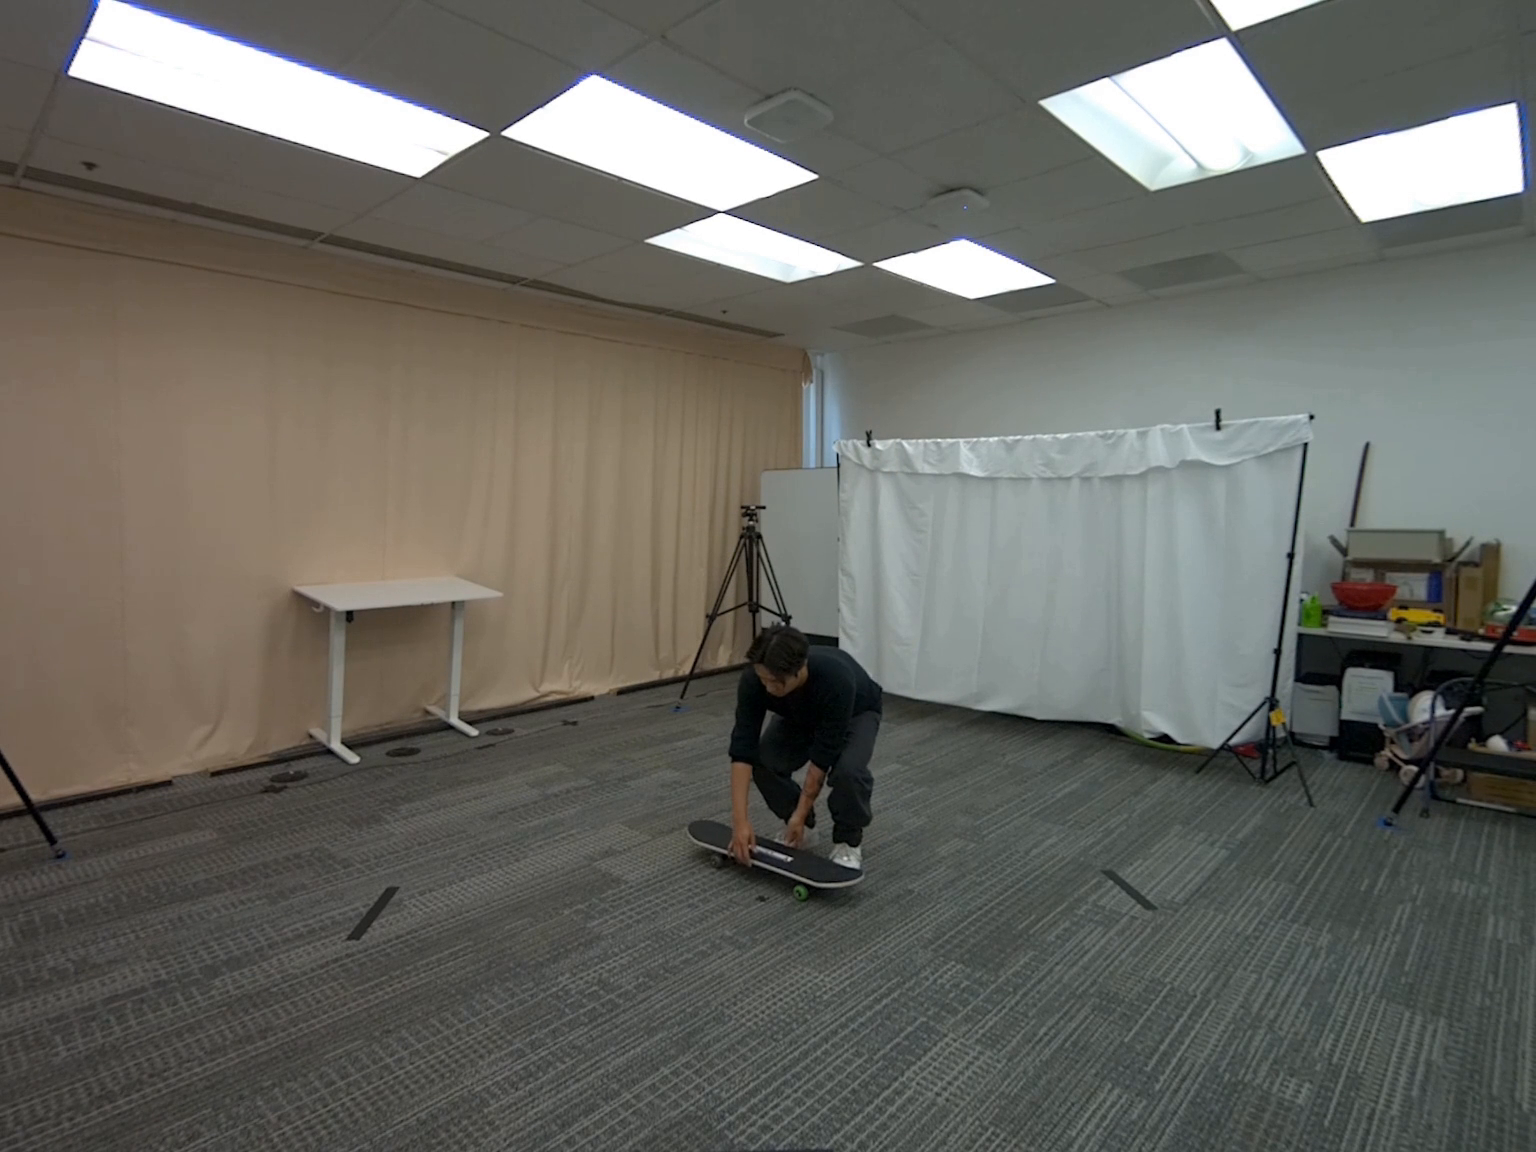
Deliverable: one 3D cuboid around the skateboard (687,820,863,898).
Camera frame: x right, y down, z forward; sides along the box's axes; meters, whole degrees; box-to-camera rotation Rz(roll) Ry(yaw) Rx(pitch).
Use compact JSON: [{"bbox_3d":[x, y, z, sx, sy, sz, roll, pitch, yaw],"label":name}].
[{"bbox_3d":[0.011,1.066,3.164,0.811,0.110,0.188,4,6,40],"label":"skateboard"}]
